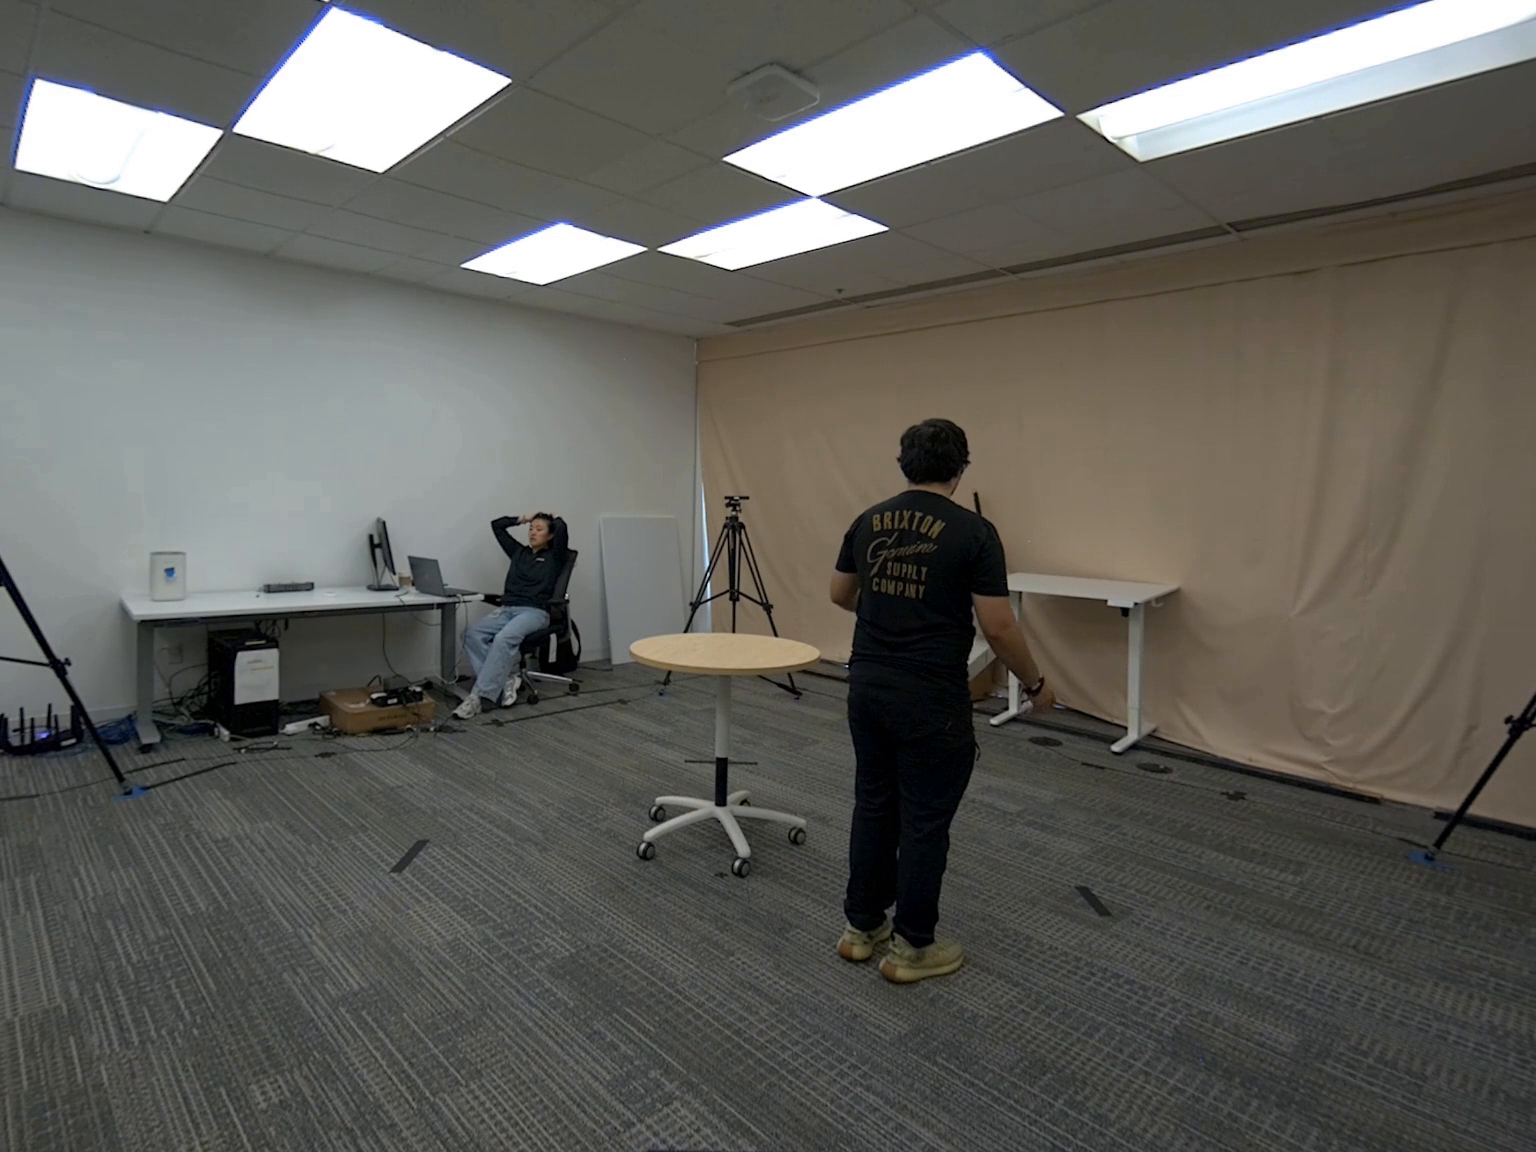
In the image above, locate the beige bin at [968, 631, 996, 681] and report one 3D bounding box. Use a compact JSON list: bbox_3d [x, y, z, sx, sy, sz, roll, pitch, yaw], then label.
[{"bbox_3d":[0.608,0.210,2.929,0.387,0.186,0.417,8,23,38],"label":"beige bin"}]
